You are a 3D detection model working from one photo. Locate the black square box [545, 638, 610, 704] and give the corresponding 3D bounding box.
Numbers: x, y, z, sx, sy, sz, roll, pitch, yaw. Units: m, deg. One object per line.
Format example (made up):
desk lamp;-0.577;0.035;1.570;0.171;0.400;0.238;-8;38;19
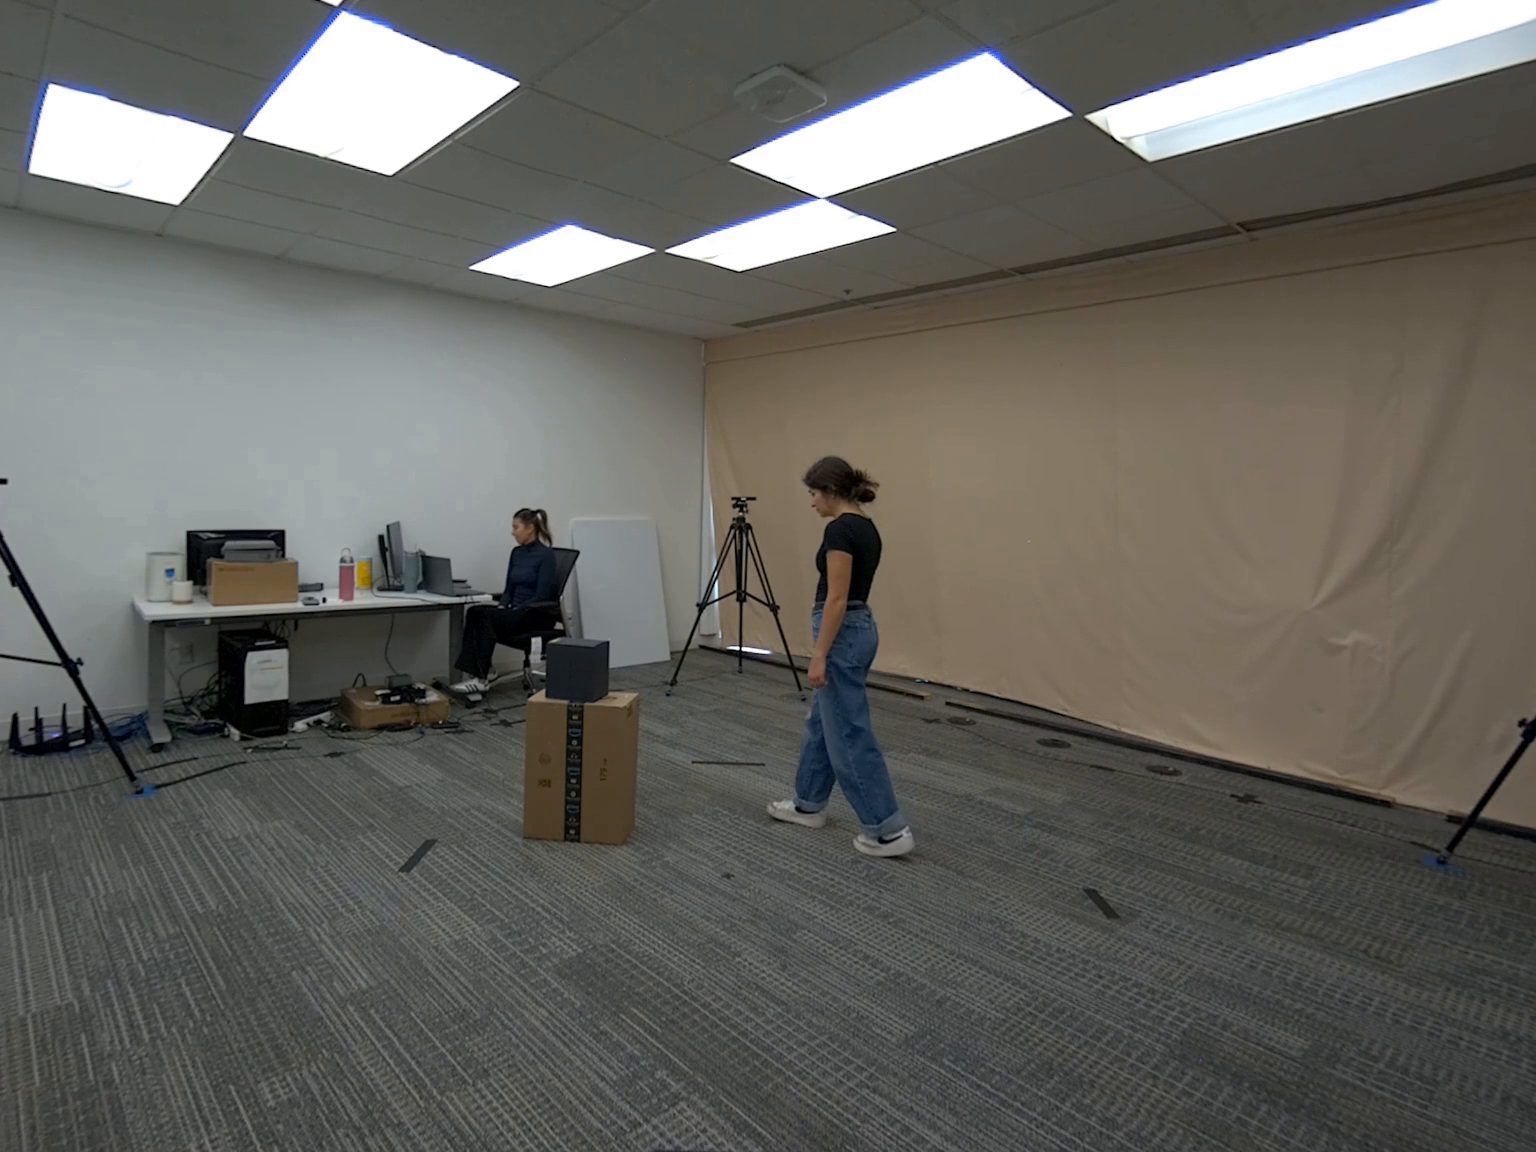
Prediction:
black square box;-0.785;0.377;3.448;0.219;0.227;0.154;2;4;14
